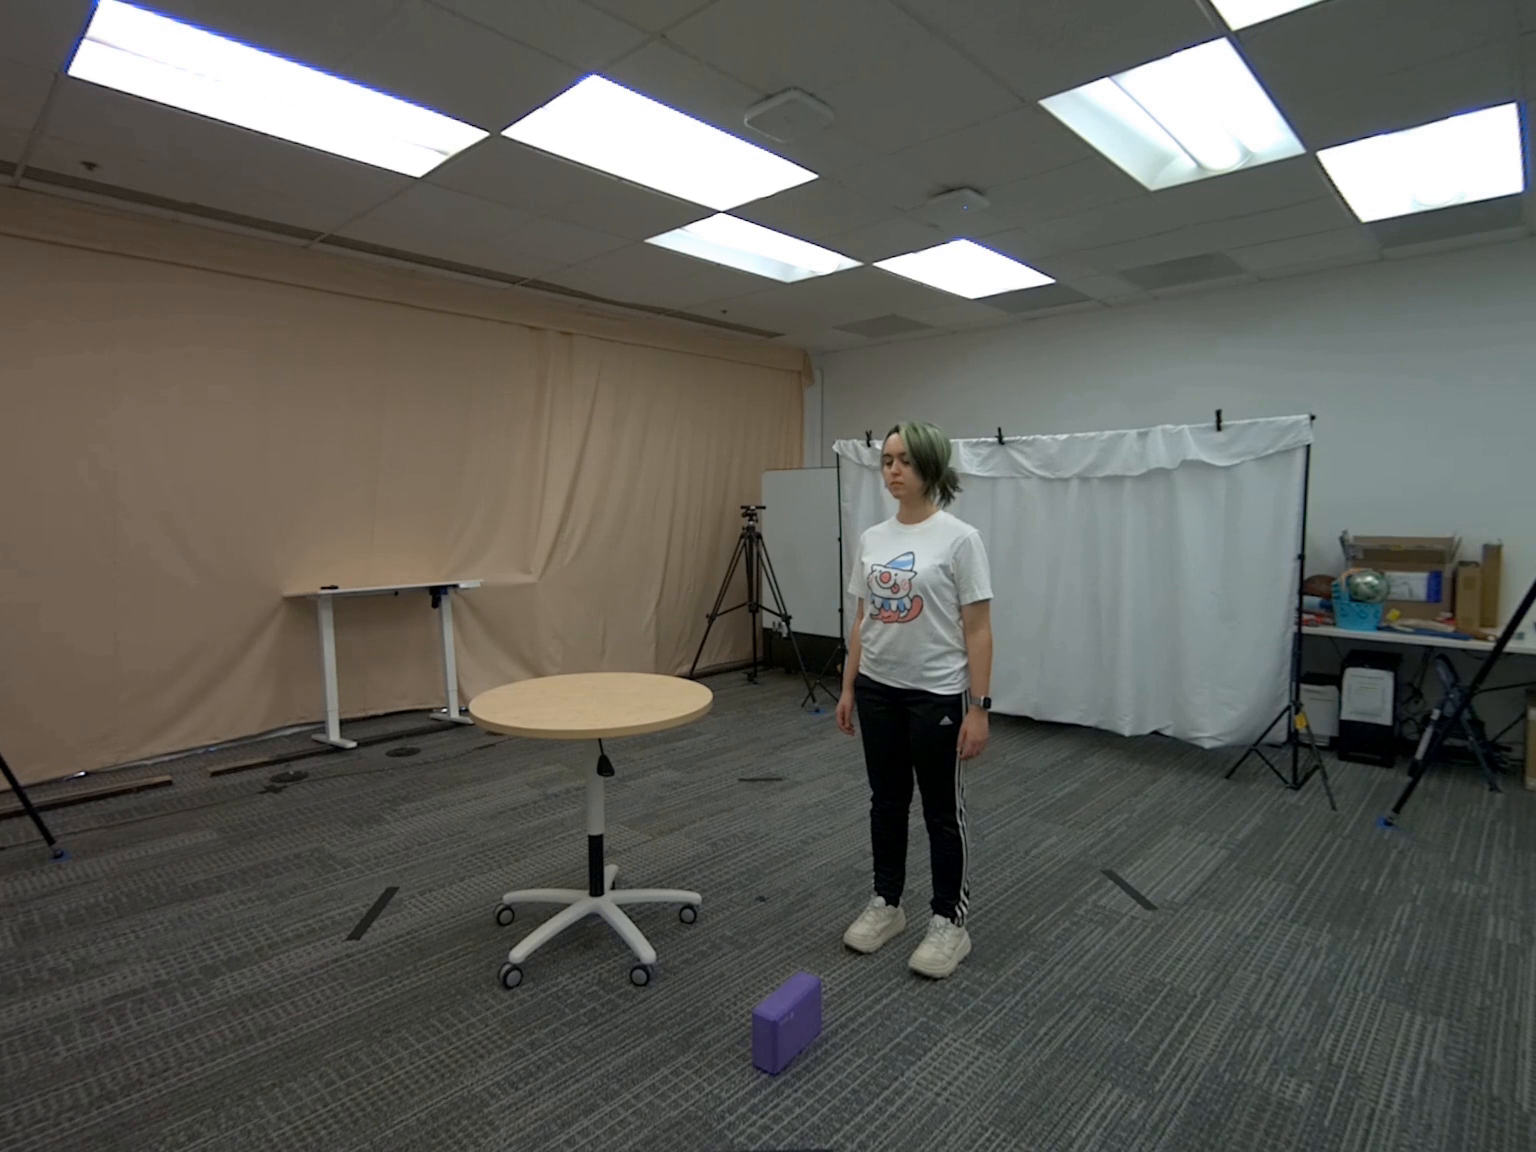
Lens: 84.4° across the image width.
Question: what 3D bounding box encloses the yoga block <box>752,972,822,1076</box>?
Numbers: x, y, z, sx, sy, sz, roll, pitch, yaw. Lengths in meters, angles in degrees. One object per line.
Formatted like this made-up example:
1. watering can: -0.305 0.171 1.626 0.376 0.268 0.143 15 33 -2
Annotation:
1. yoga block: 0.055 1.140 2.148 0.079 0.148 0.223 1 5 36
